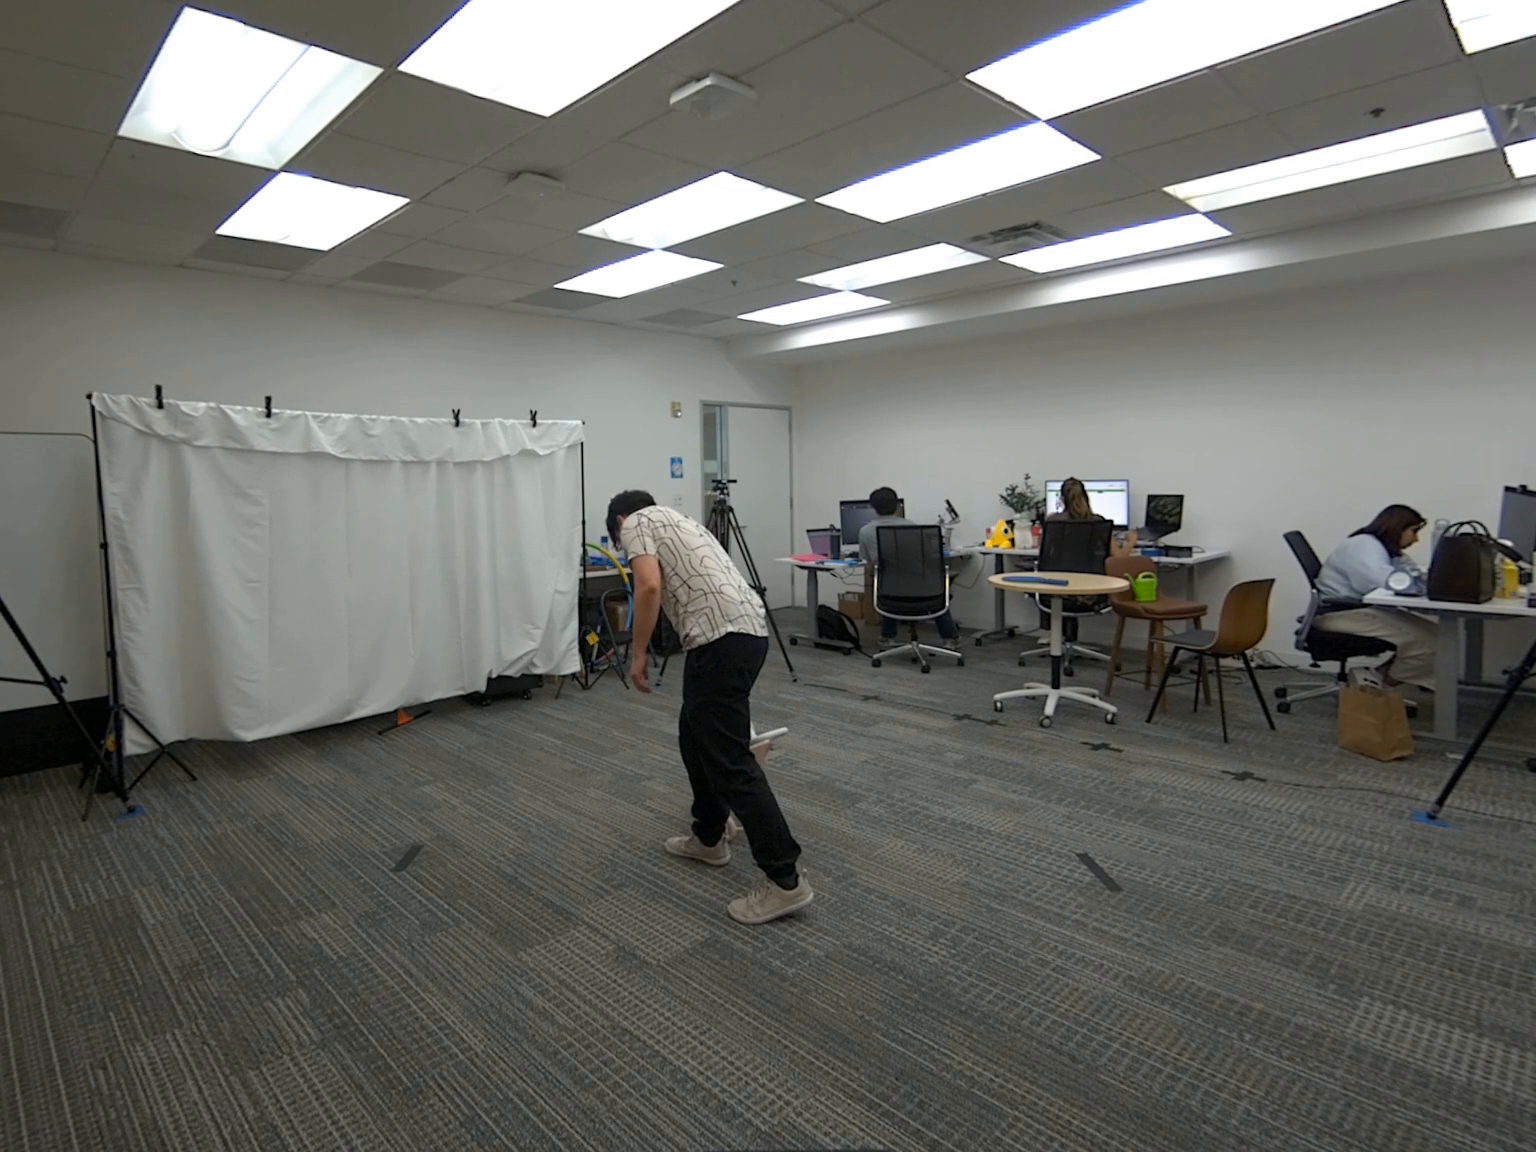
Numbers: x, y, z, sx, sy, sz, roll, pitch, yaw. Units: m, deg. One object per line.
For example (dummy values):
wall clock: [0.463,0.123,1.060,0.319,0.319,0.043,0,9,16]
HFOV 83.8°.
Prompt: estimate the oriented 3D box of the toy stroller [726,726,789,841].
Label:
toy stroller: [-0.136,0.790,3.432,0.274,0.529,0.354,-4,21,-44]
